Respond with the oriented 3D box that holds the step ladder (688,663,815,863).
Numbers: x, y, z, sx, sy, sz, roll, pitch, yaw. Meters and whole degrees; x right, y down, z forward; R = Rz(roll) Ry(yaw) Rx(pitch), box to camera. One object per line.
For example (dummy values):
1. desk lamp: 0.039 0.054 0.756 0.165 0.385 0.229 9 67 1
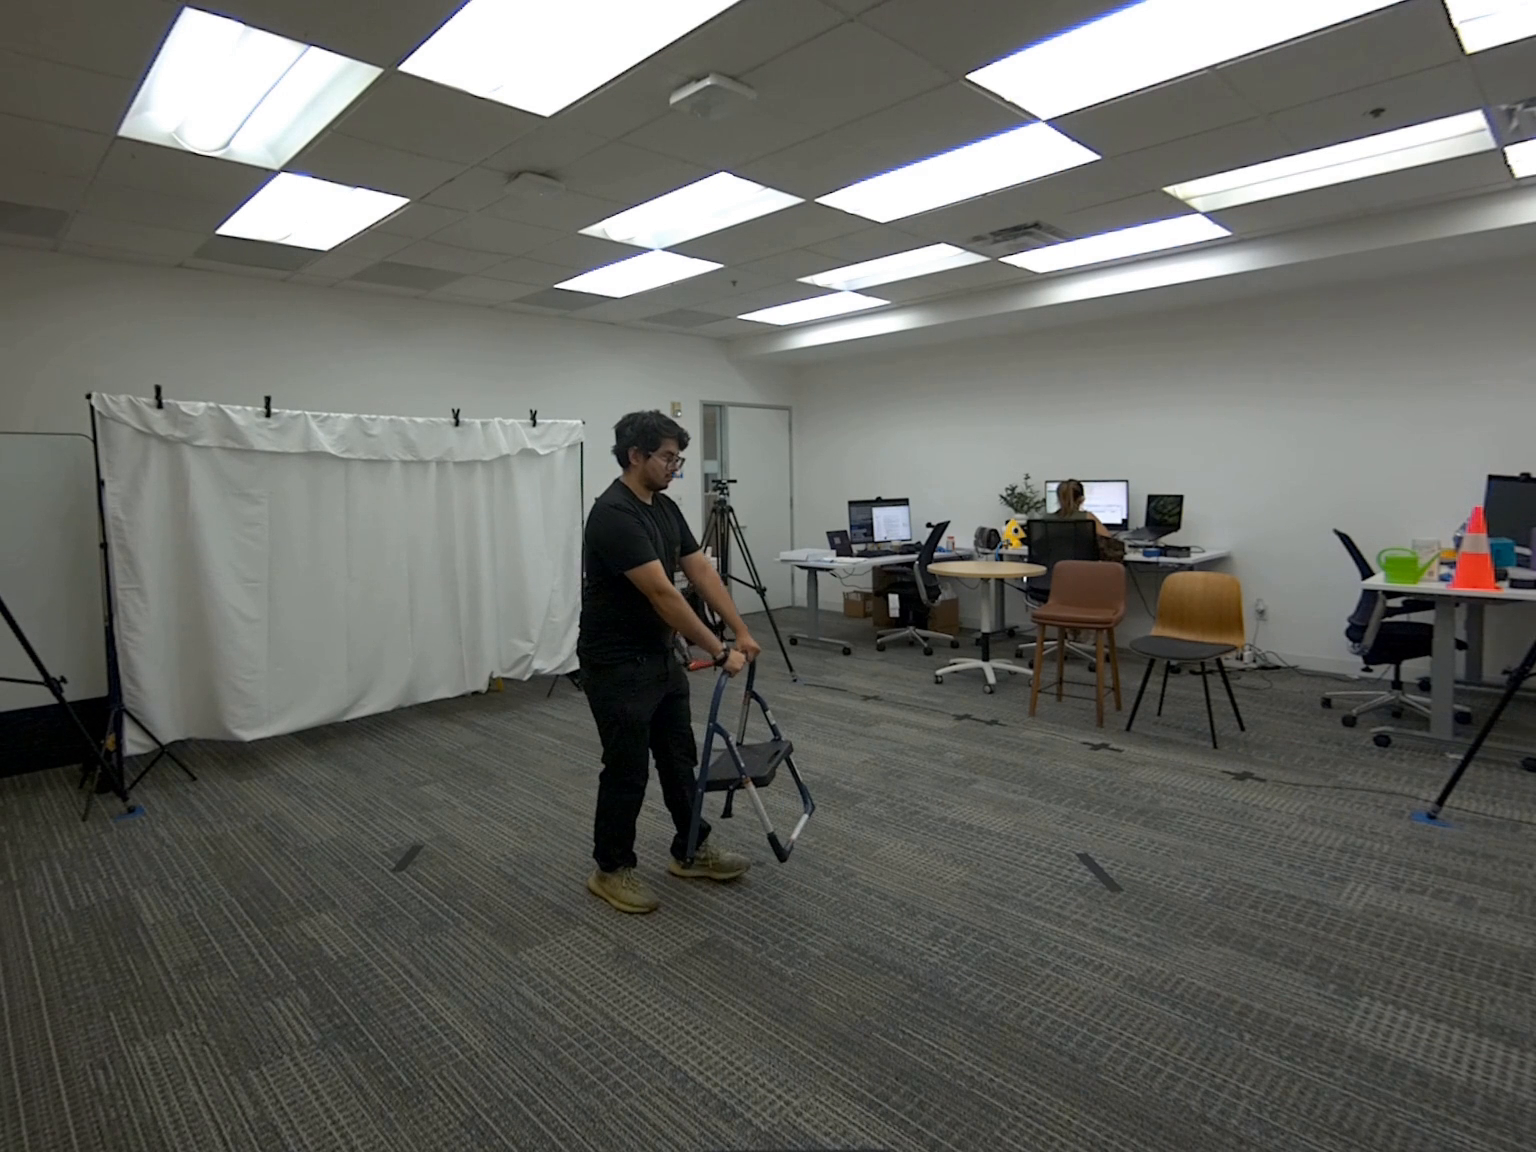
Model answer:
1. step ladder: -0.107 0.564 2.801 0.354 0.605 0.425 -11 2 18
